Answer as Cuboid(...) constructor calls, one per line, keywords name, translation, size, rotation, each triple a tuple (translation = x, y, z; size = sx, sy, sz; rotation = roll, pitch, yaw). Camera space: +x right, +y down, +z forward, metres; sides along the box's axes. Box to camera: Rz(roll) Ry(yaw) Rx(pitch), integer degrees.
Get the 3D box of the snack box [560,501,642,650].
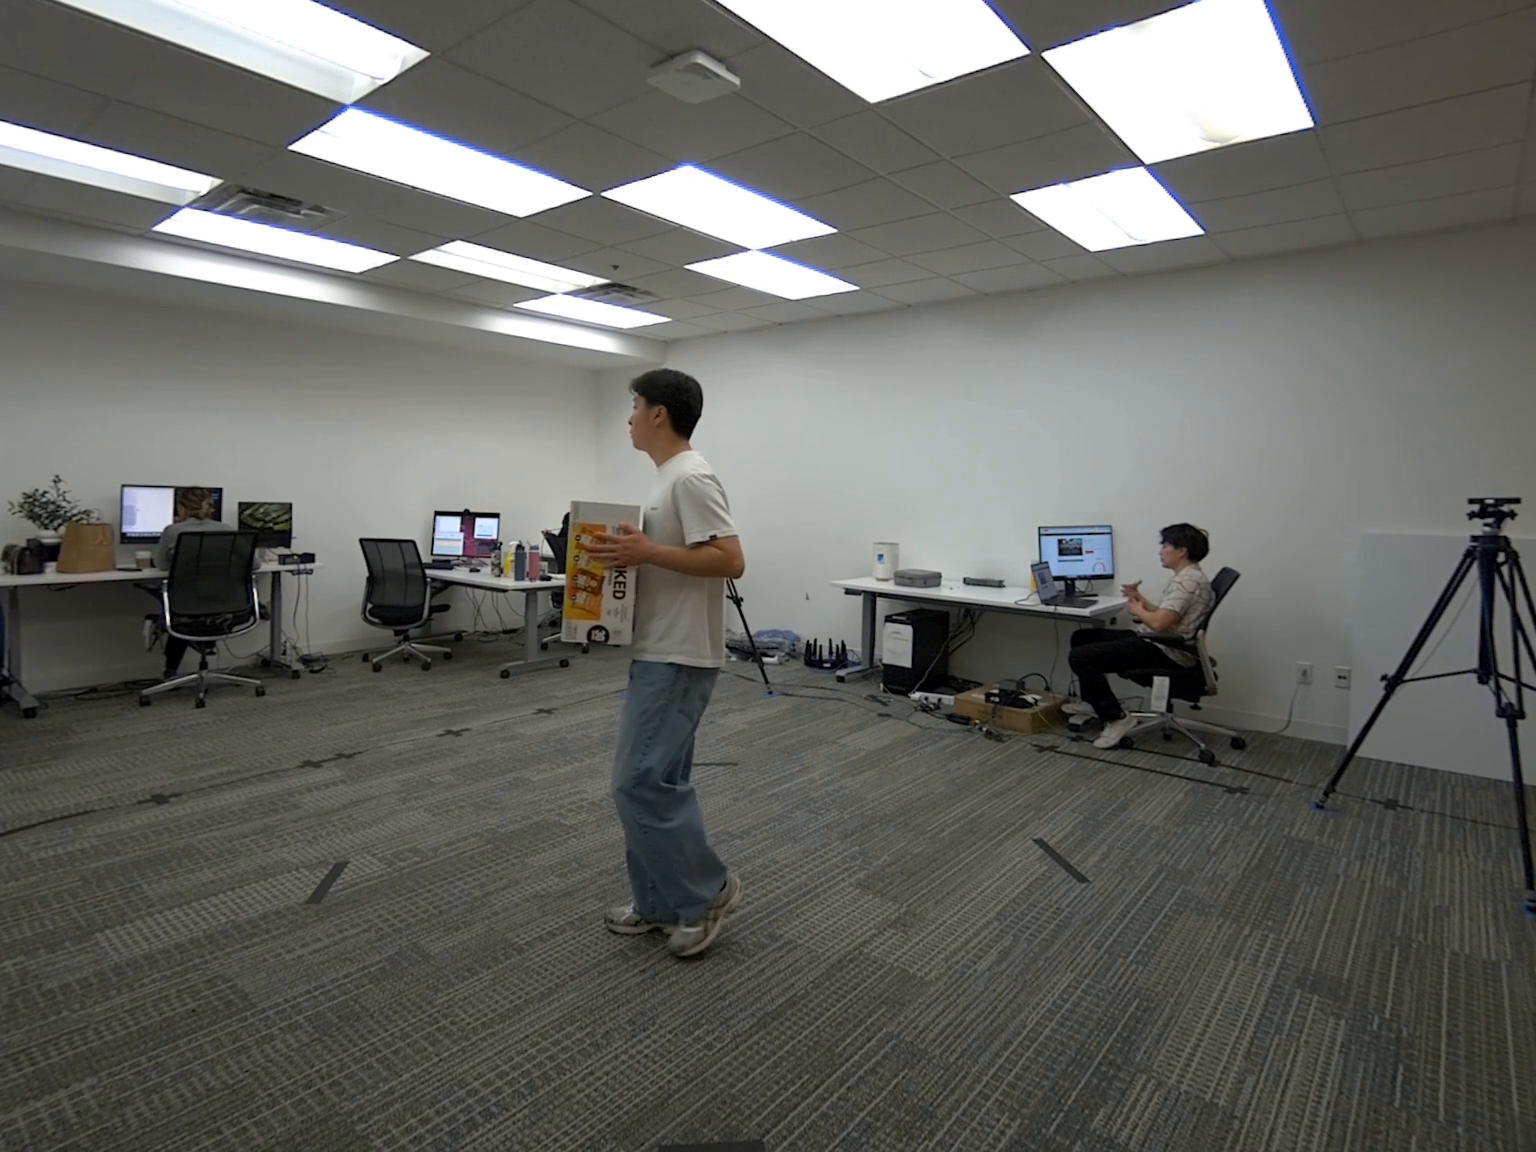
Cuboid(name="snack box", translation=(-0.522, -0.016, 2.609), size=(0.204, 0.405, 0.344), rotation=(4, 1, -10))
